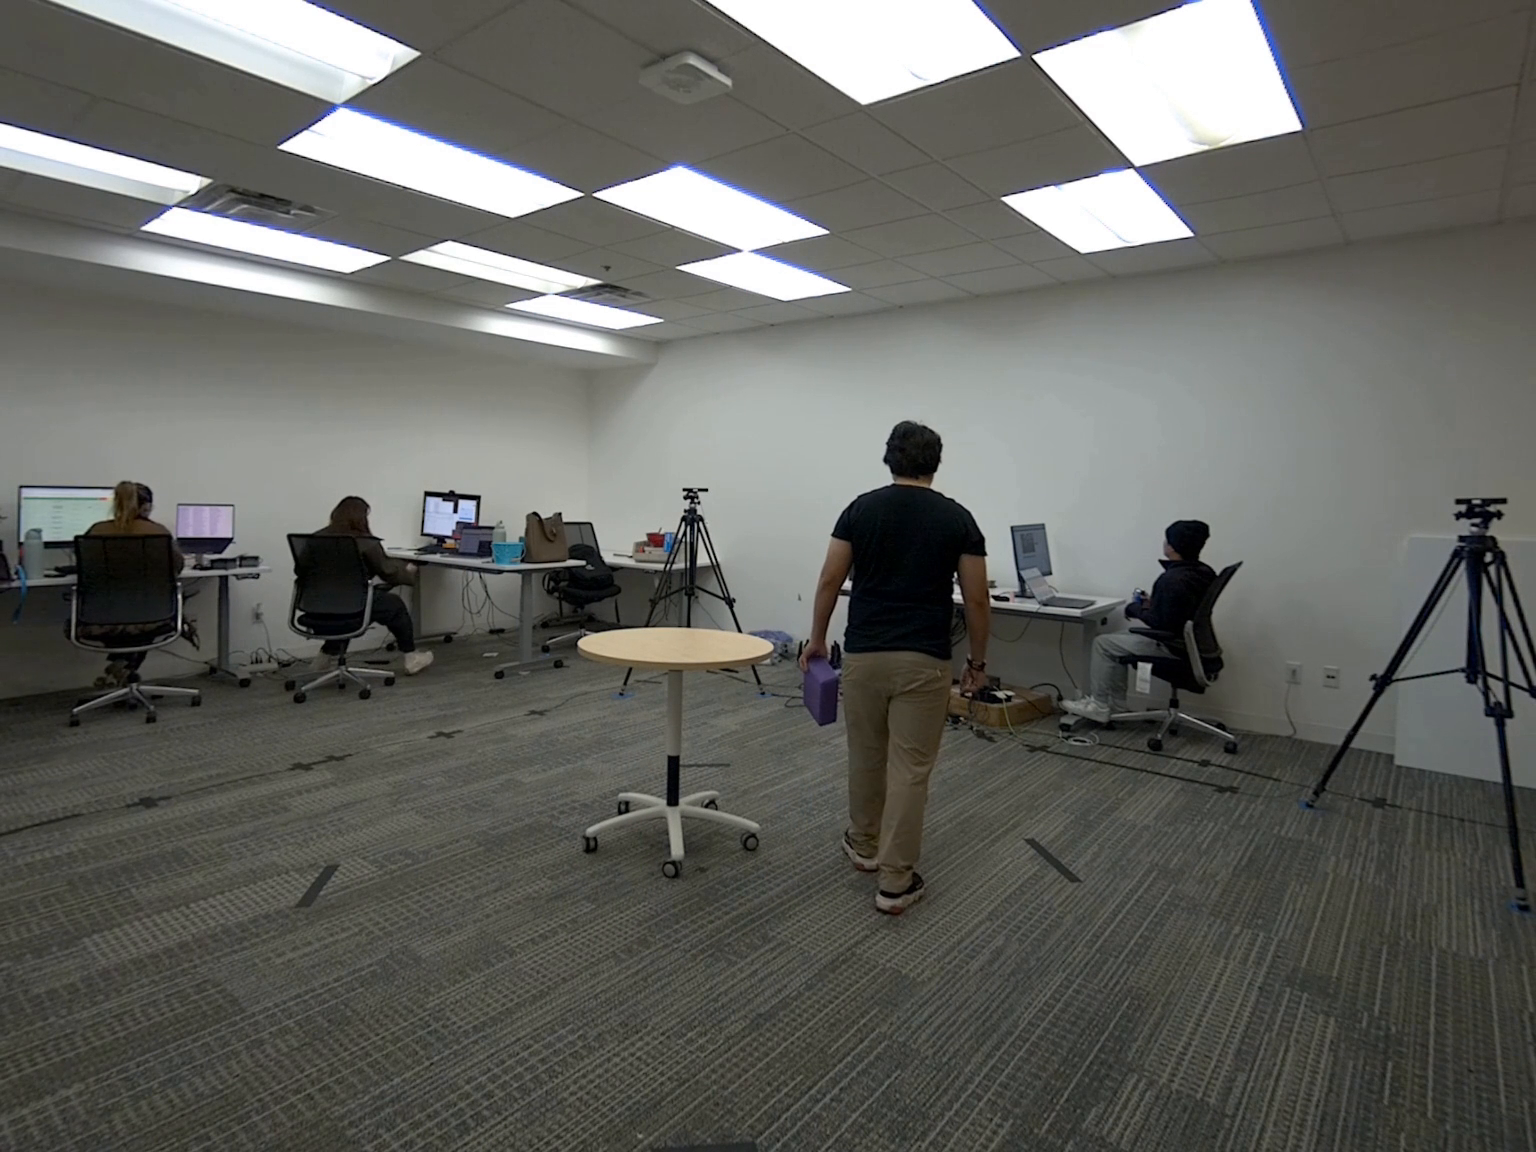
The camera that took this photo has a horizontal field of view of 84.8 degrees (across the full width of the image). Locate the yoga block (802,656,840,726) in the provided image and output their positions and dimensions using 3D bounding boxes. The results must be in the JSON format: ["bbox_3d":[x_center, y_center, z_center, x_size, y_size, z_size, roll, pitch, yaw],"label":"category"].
[{"bbox_3d":[0.188,0.426,3.193,0.075,0.222,0.155,-16,37,-16],"label":"yoga block"}]
